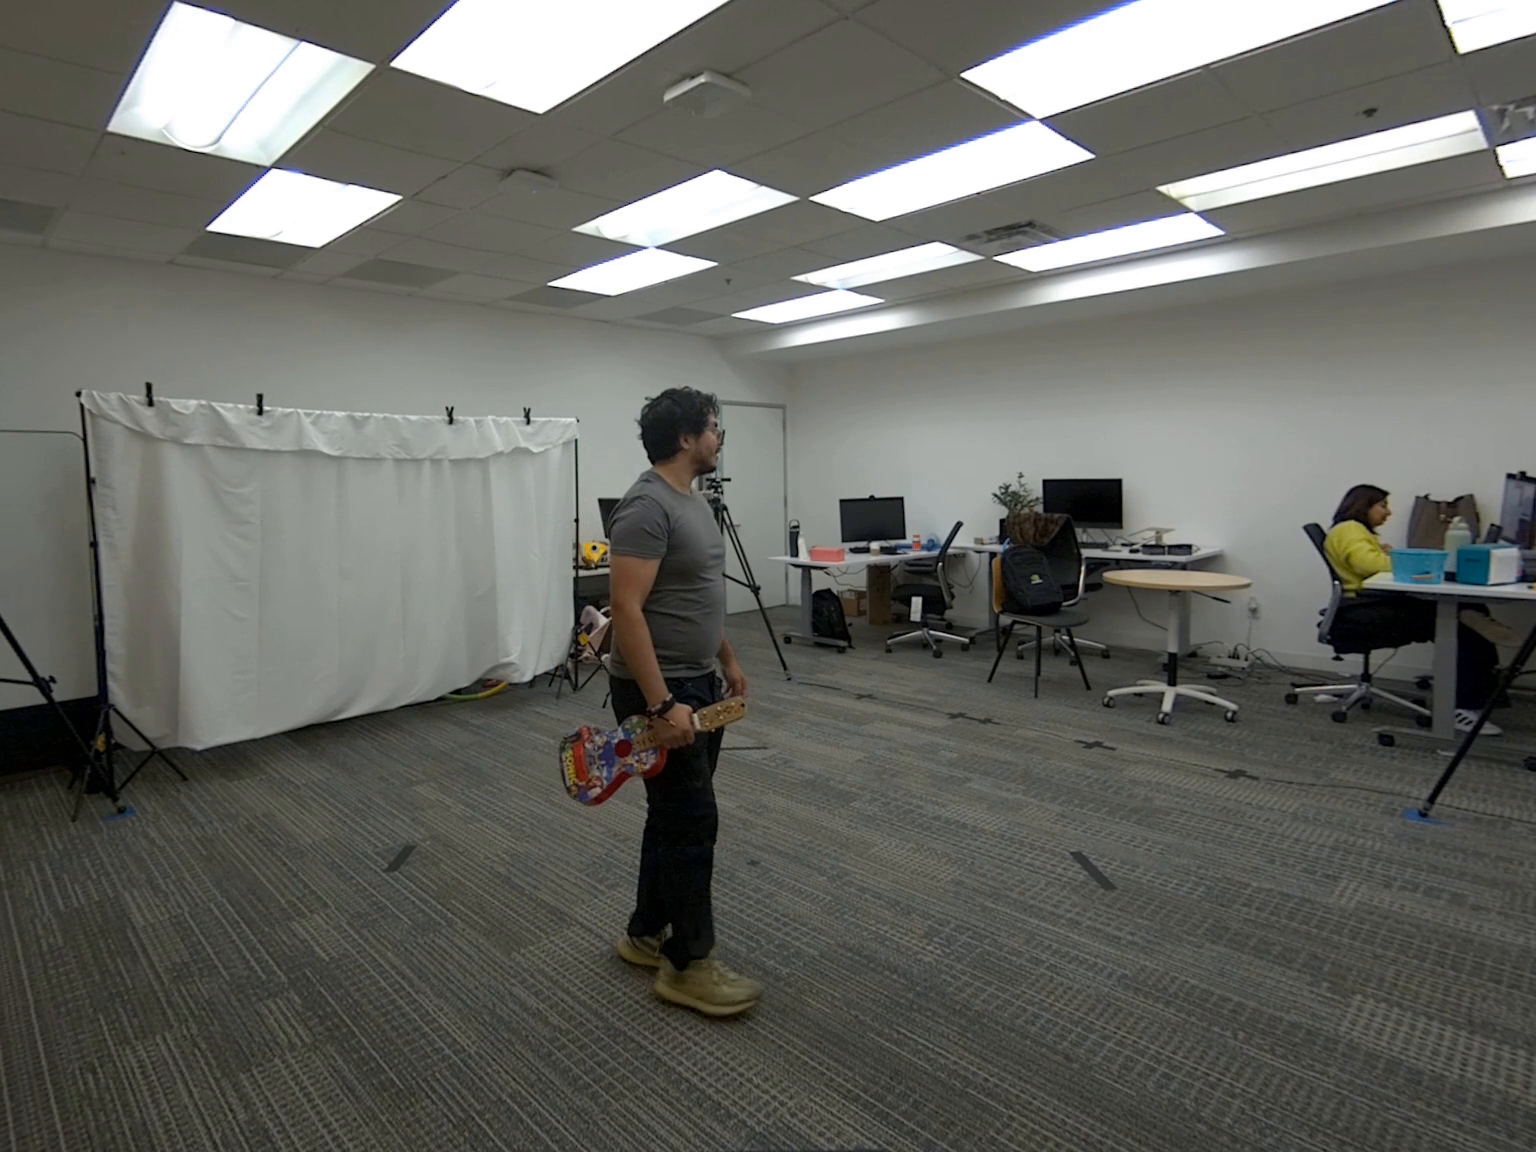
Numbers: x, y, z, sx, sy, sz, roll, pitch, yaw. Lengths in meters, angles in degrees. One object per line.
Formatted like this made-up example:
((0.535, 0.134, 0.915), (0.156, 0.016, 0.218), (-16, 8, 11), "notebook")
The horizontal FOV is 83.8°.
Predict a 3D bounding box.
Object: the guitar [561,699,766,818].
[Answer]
((-0.267, 0.455, 2.128), (0.501, 0.198, 0.068), (-12, -31, 10), "guitar")
